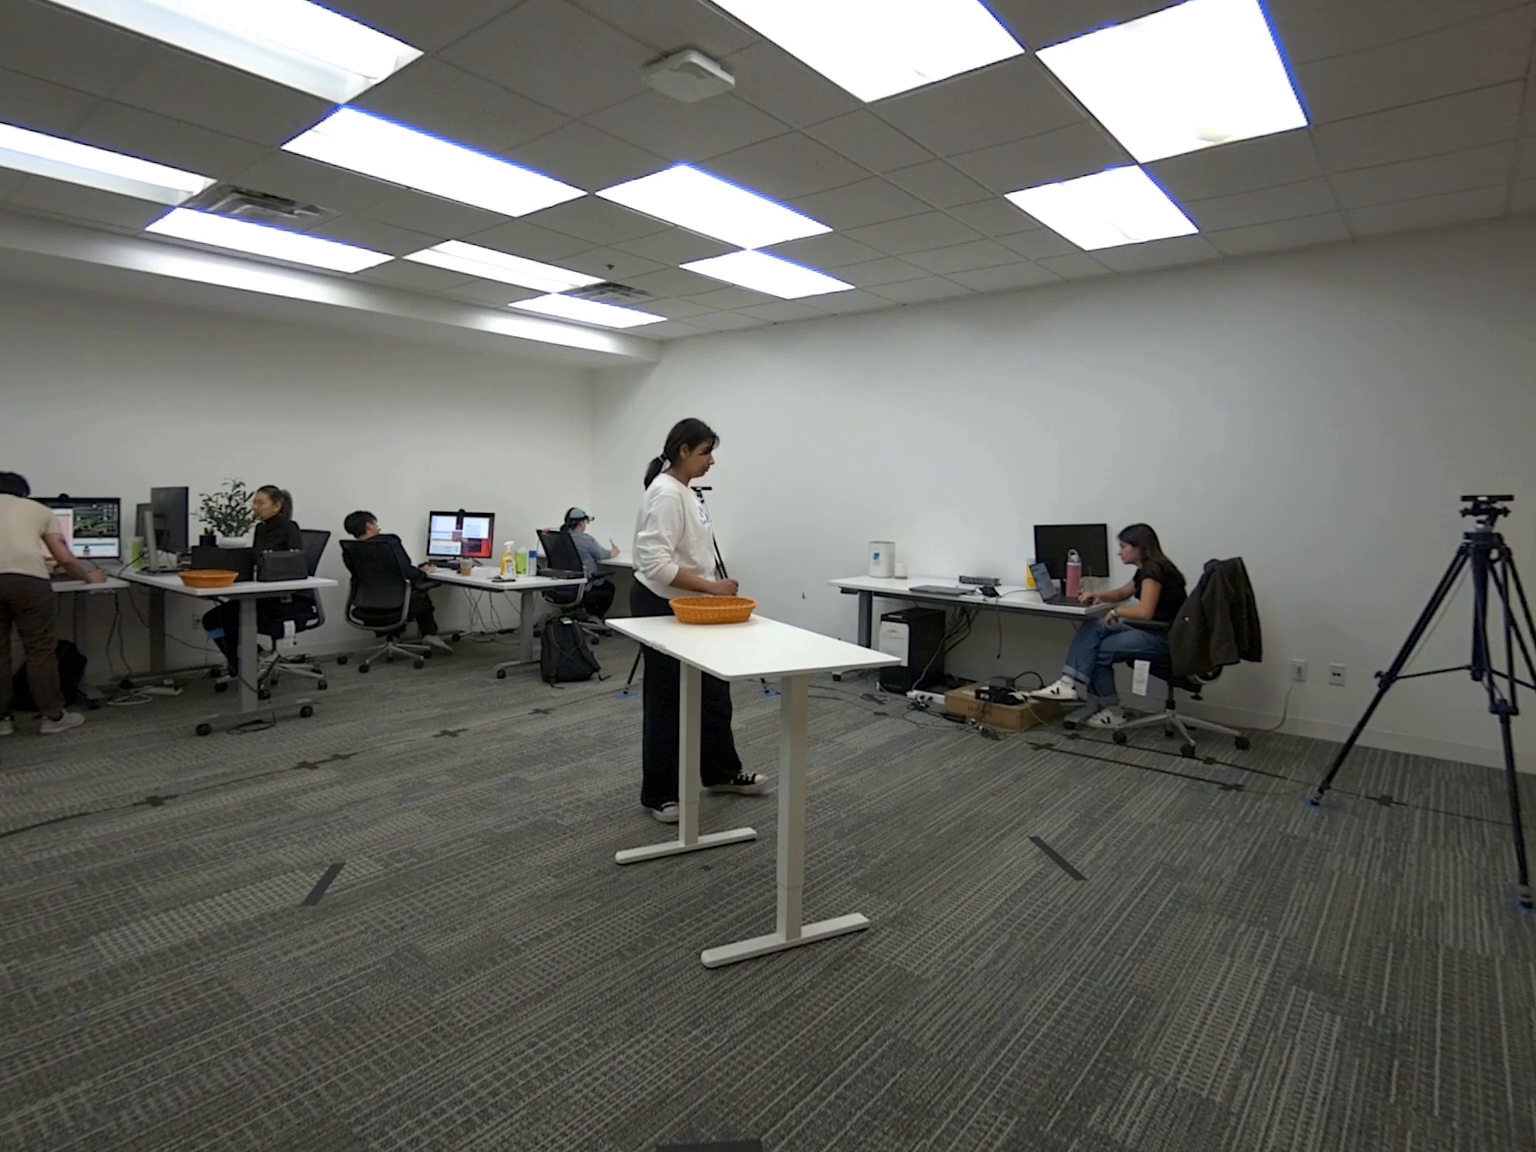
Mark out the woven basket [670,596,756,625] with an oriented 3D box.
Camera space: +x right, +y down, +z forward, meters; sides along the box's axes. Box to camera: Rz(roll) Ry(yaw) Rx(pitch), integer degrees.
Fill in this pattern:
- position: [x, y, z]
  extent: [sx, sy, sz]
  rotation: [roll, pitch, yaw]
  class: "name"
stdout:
- position: [-0.221, 0.136, 3.244]
  extent: [0.343, 0.073, 0.259]
  rotation: [-1, 7, -21]
  class: "woven basket"
